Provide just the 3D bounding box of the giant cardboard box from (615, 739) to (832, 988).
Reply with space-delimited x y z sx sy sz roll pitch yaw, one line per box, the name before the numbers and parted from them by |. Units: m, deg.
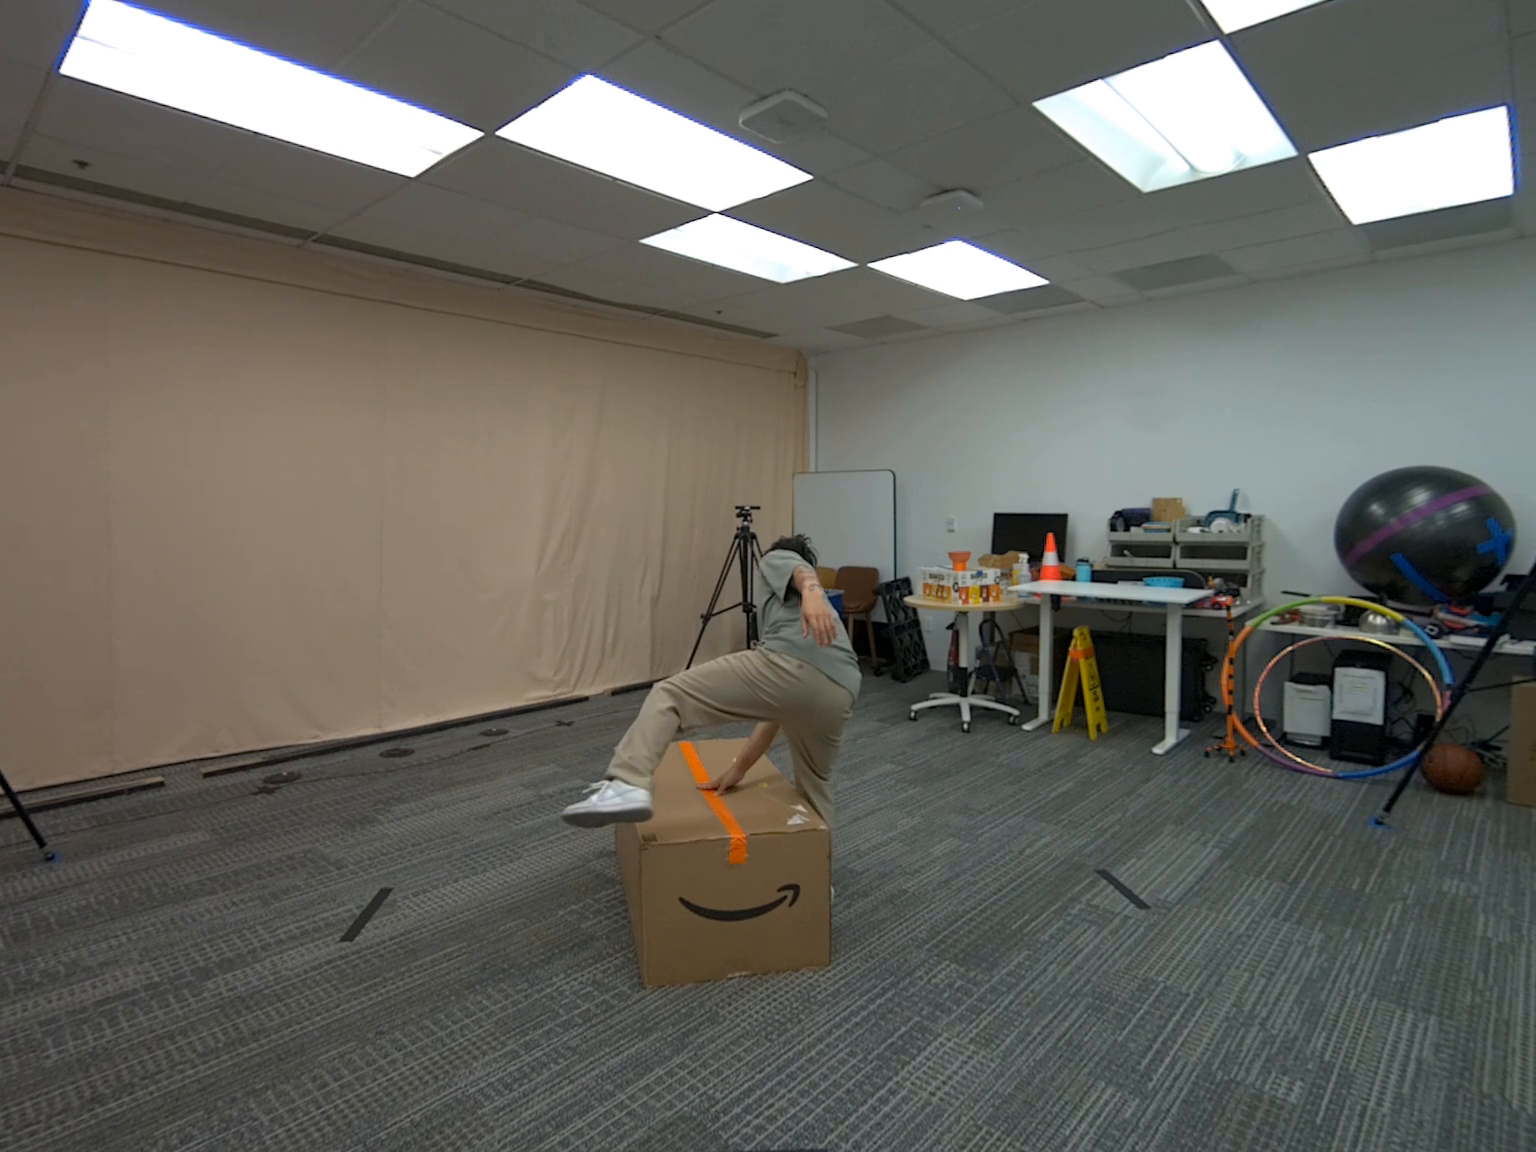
giant cardboard box | -0.216 0.933 2.976 0.570 0.425 1.042 -1 4 -14
